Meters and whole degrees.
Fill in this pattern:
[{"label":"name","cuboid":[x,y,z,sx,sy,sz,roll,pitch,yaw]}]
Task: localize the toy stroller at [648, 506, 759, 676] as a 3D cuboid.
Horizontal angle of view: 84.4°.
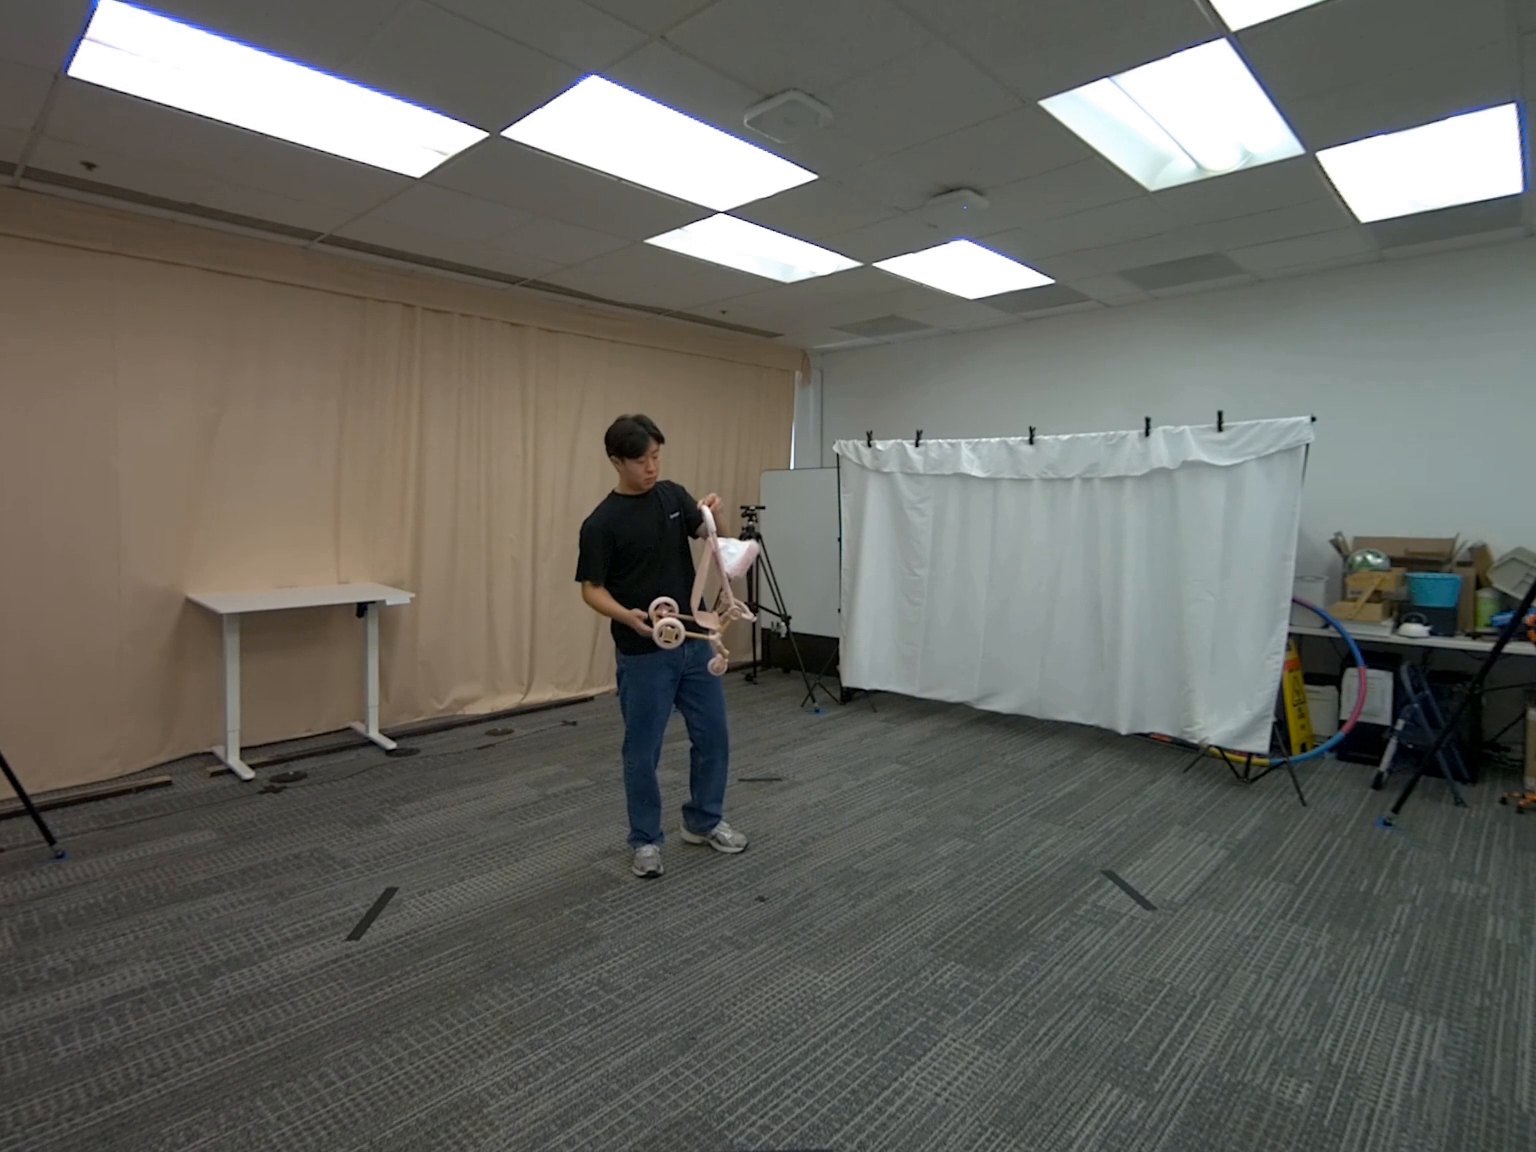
[{"label":"toy stroller","cuboid":[-0.168,0.070,2.966,0.336,0.534,0.286,25,8,-12]}]
